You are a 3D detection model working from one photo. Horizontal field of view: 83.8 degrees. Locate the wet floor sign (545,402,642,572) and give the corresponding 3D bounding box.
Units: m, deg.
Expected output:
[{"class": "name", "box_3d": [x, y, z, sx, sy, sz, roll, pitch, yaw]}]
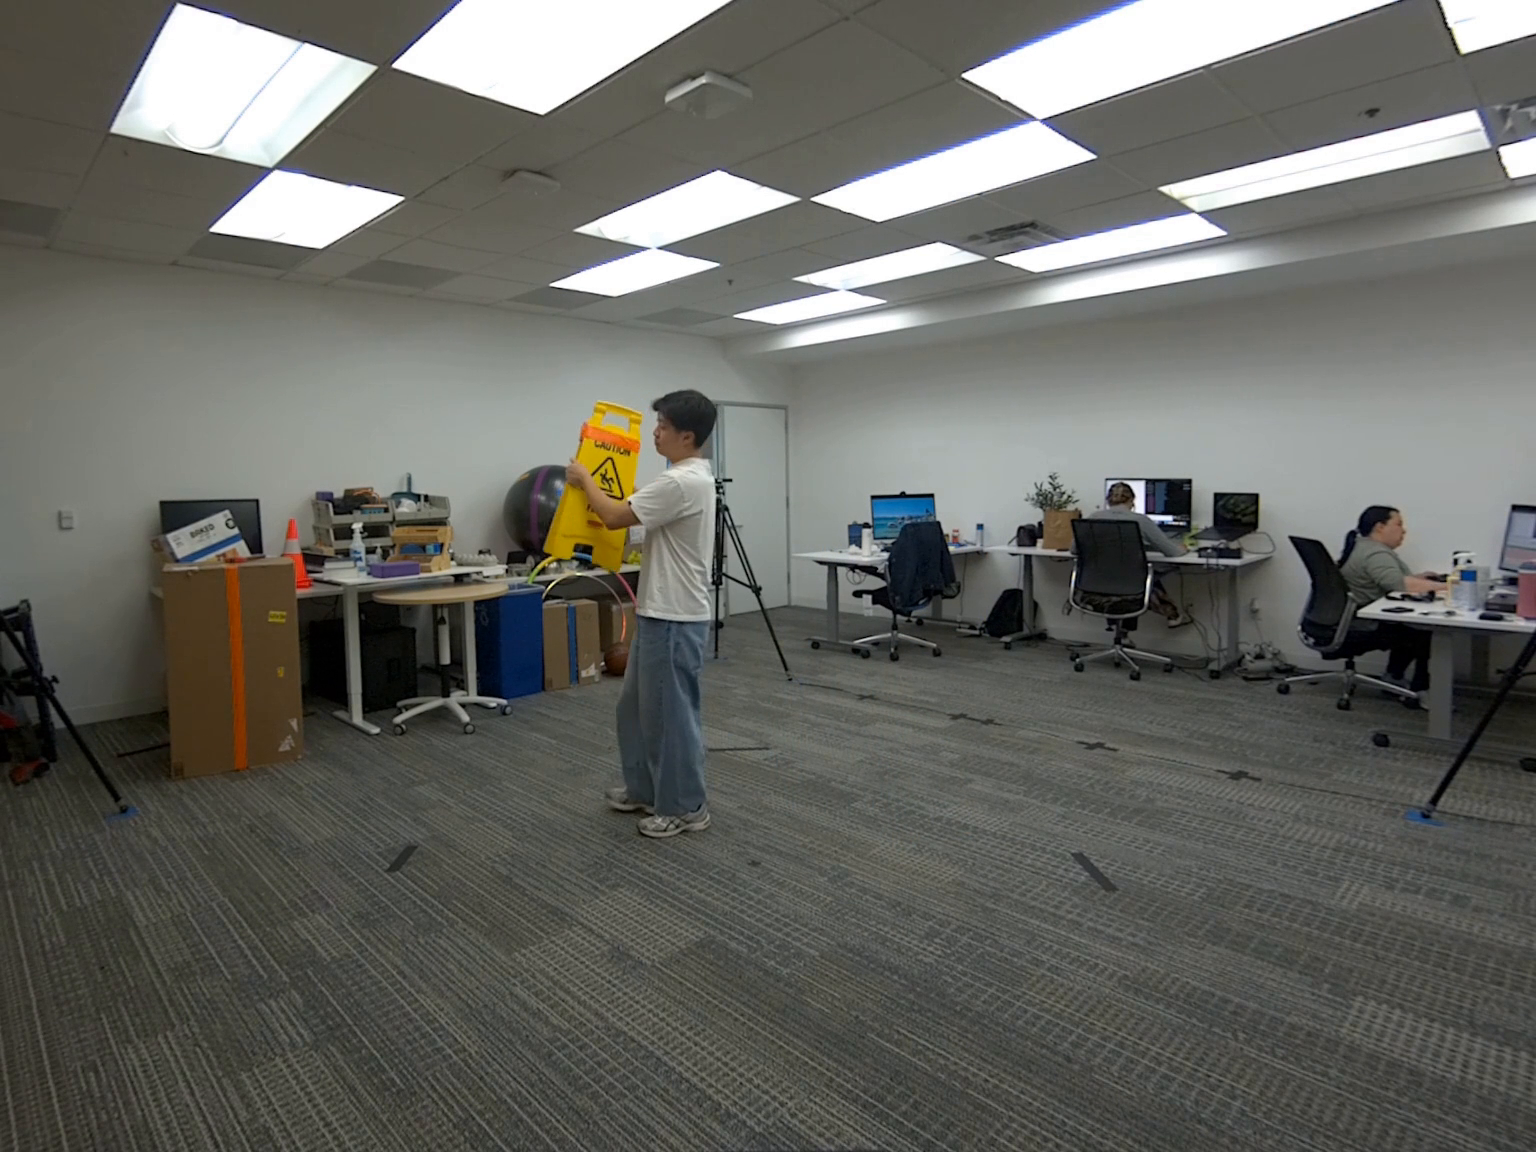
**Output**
[{"class": "wet floor sign", "box_3d": [-0.676, -0.370, 3.454, 0.276, 0.646, 0.296, 14, 0, -21]}]
